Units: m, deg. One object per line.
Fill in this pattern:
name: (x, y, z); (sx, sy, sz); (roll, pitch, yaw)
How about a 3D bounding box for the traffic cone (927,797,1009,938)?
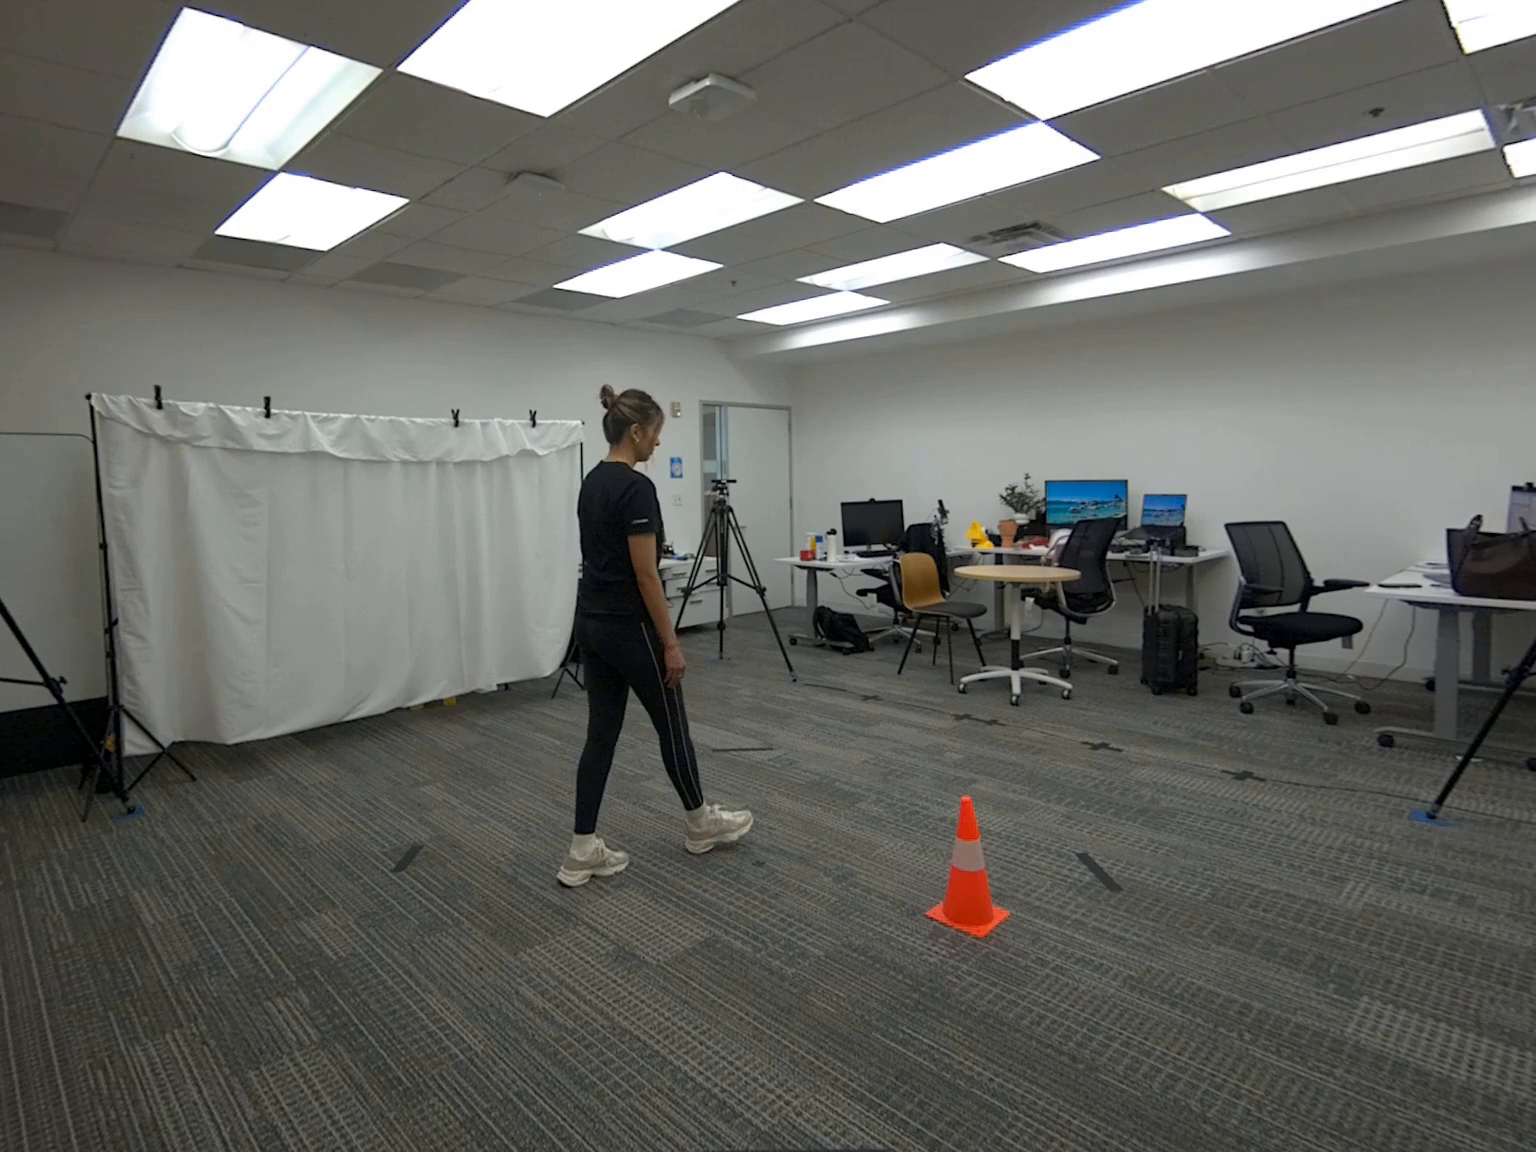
traffic cone: (0.641, 0.894, 2.710); (0.198, 0.383, 0.211); (-5, 4, -44)
